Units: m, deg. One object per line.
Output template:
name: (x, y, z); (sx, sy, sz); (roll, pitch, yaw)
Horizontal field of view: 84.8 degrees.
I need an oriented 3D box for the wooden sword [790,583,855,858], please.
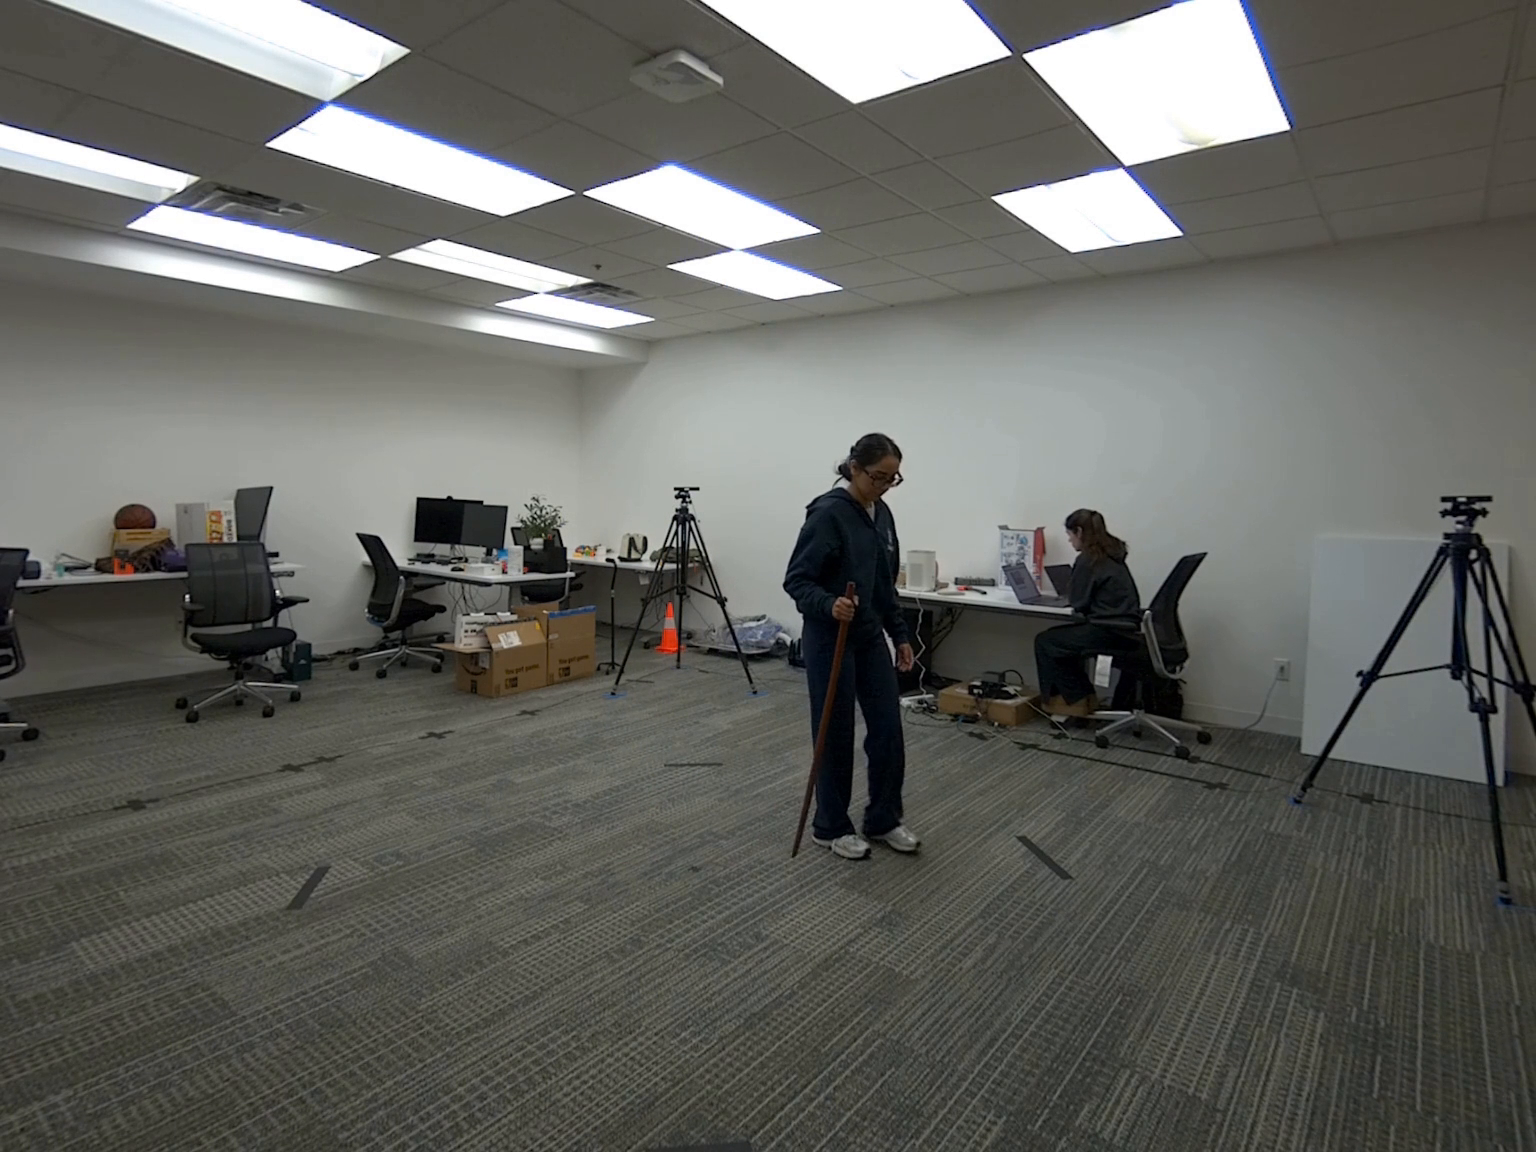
wooden sword: (0.186, 0.547, 3.032); (0.024, 1.017, 0.052); (11, 9, -2)
